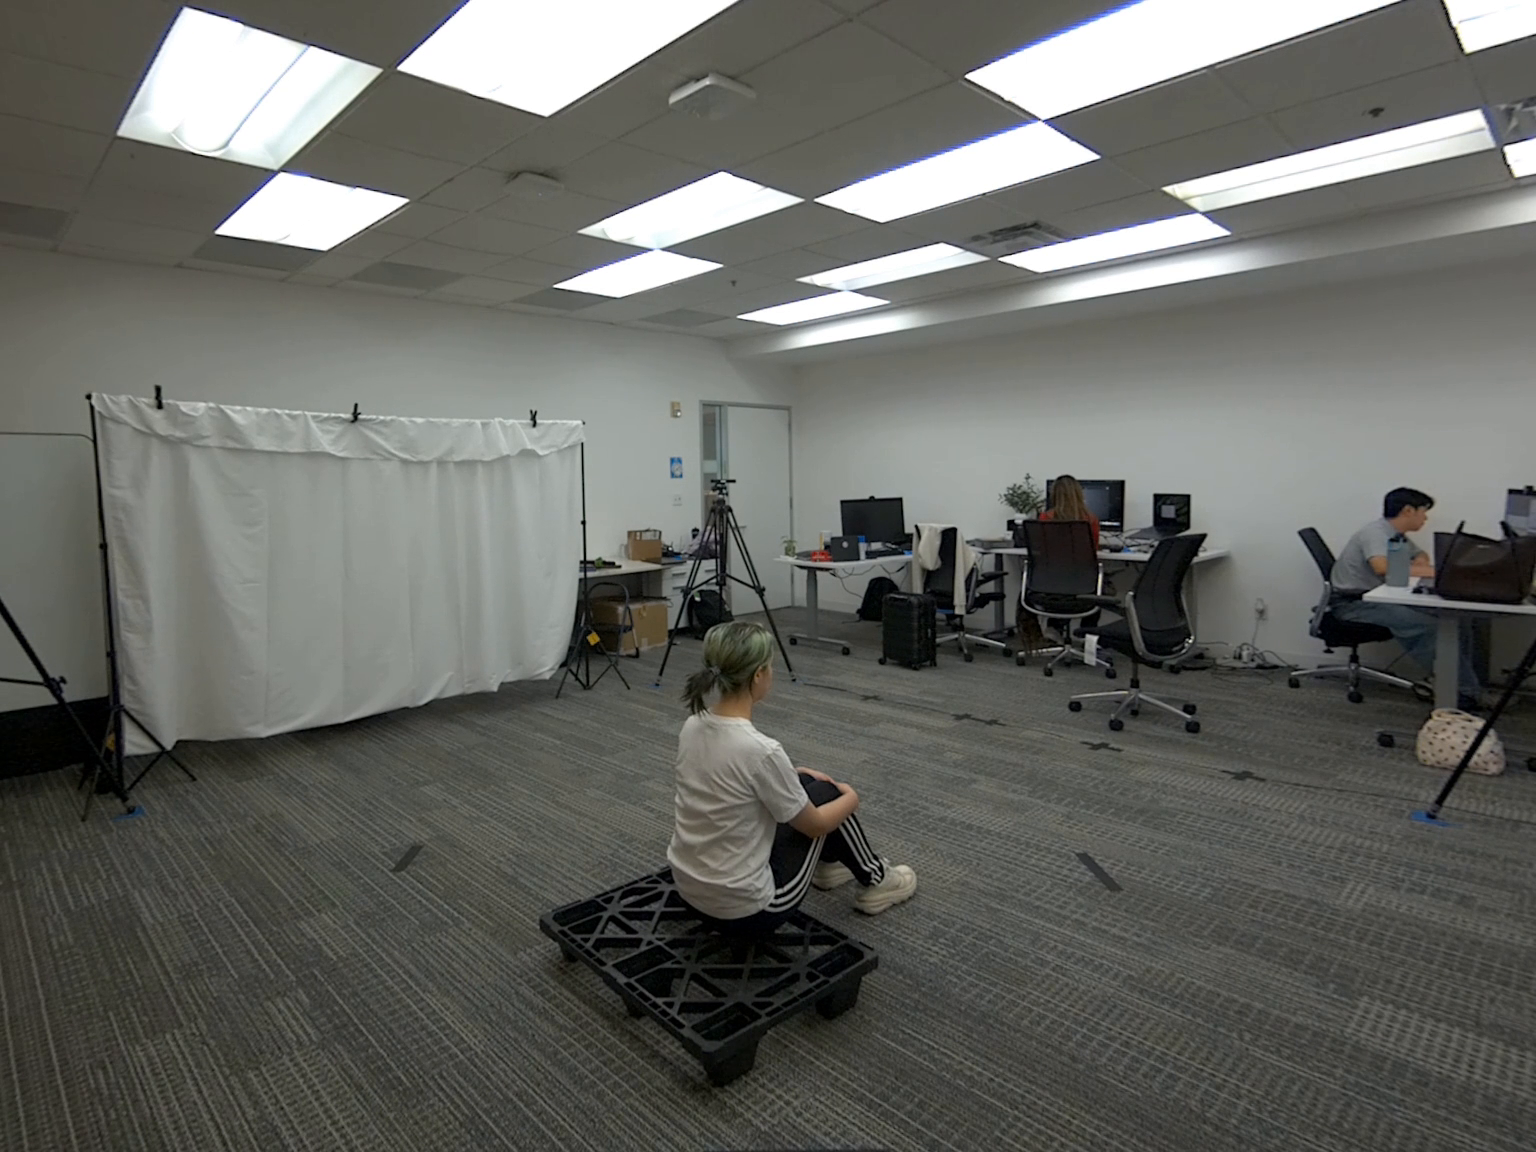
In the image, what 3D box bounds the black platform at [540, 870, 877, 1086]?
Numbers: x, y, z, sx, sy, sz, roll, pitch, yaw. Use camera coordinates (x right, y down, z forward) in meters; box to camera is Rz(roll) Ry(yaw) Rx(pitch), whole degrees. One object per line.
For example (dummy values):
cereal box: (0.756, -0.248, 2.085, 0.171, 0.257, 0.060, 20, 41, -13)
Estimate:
black platform: (-0.185, 1.066, 2.398, 0.589, 0.142, 0.831, -6, 9, -40)
